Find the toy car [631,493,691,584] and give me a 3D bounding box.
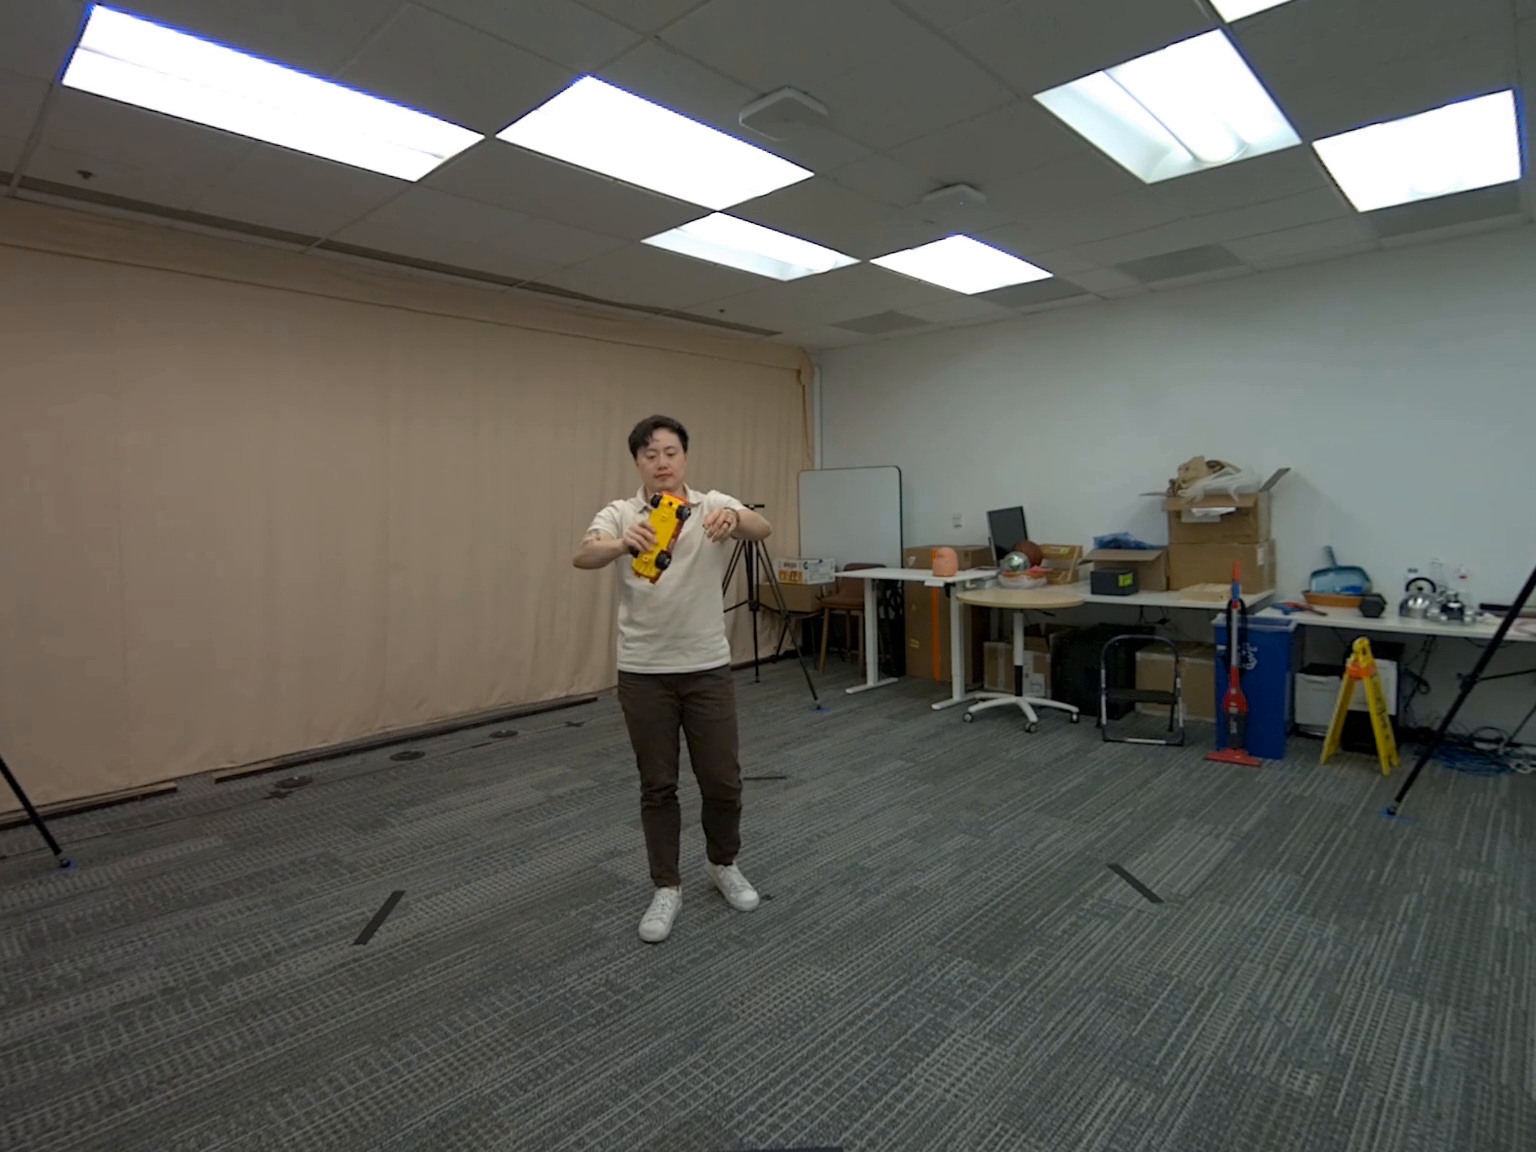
[{"bbox_3d":[-0.292,-0.104,2.359,0.134,0.254,0.081,24,11,26],"label":"toy car"}]
